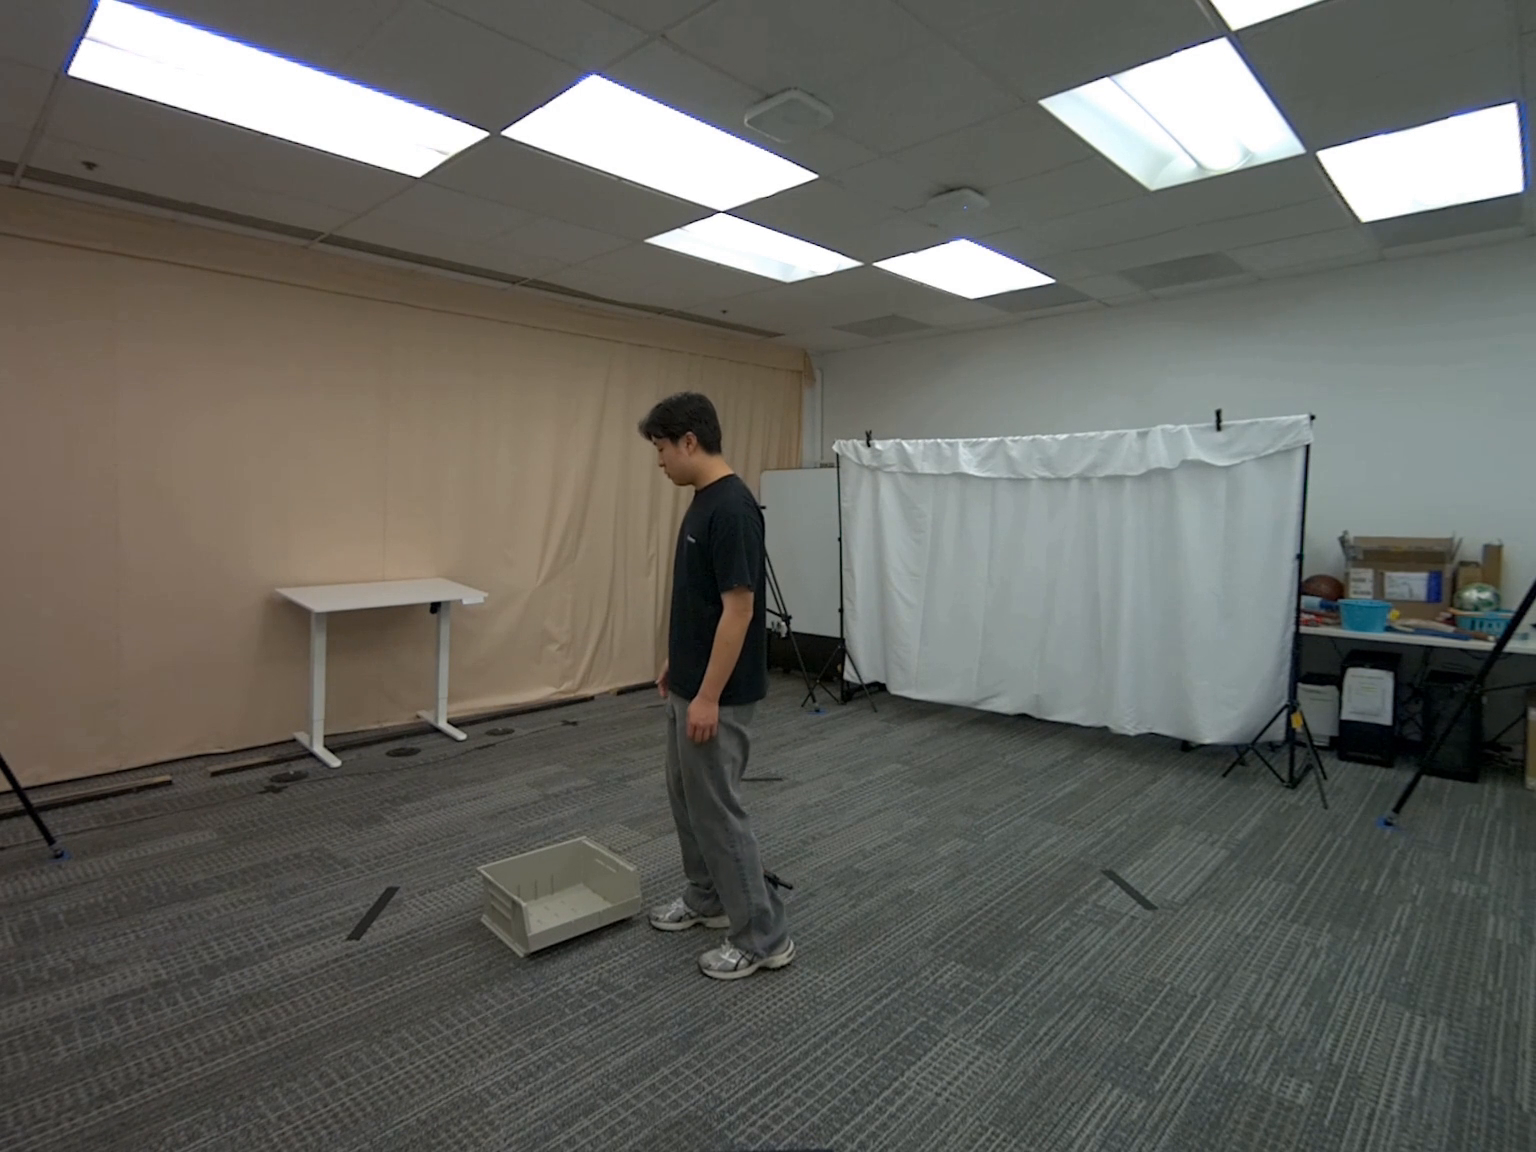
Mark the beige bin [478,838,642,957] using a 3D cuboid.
[{"bbox_3d":[-0.704,1.075,2.829,0.409,0.188,0.390,-4,5,-41],"label":"beige bin"}]
